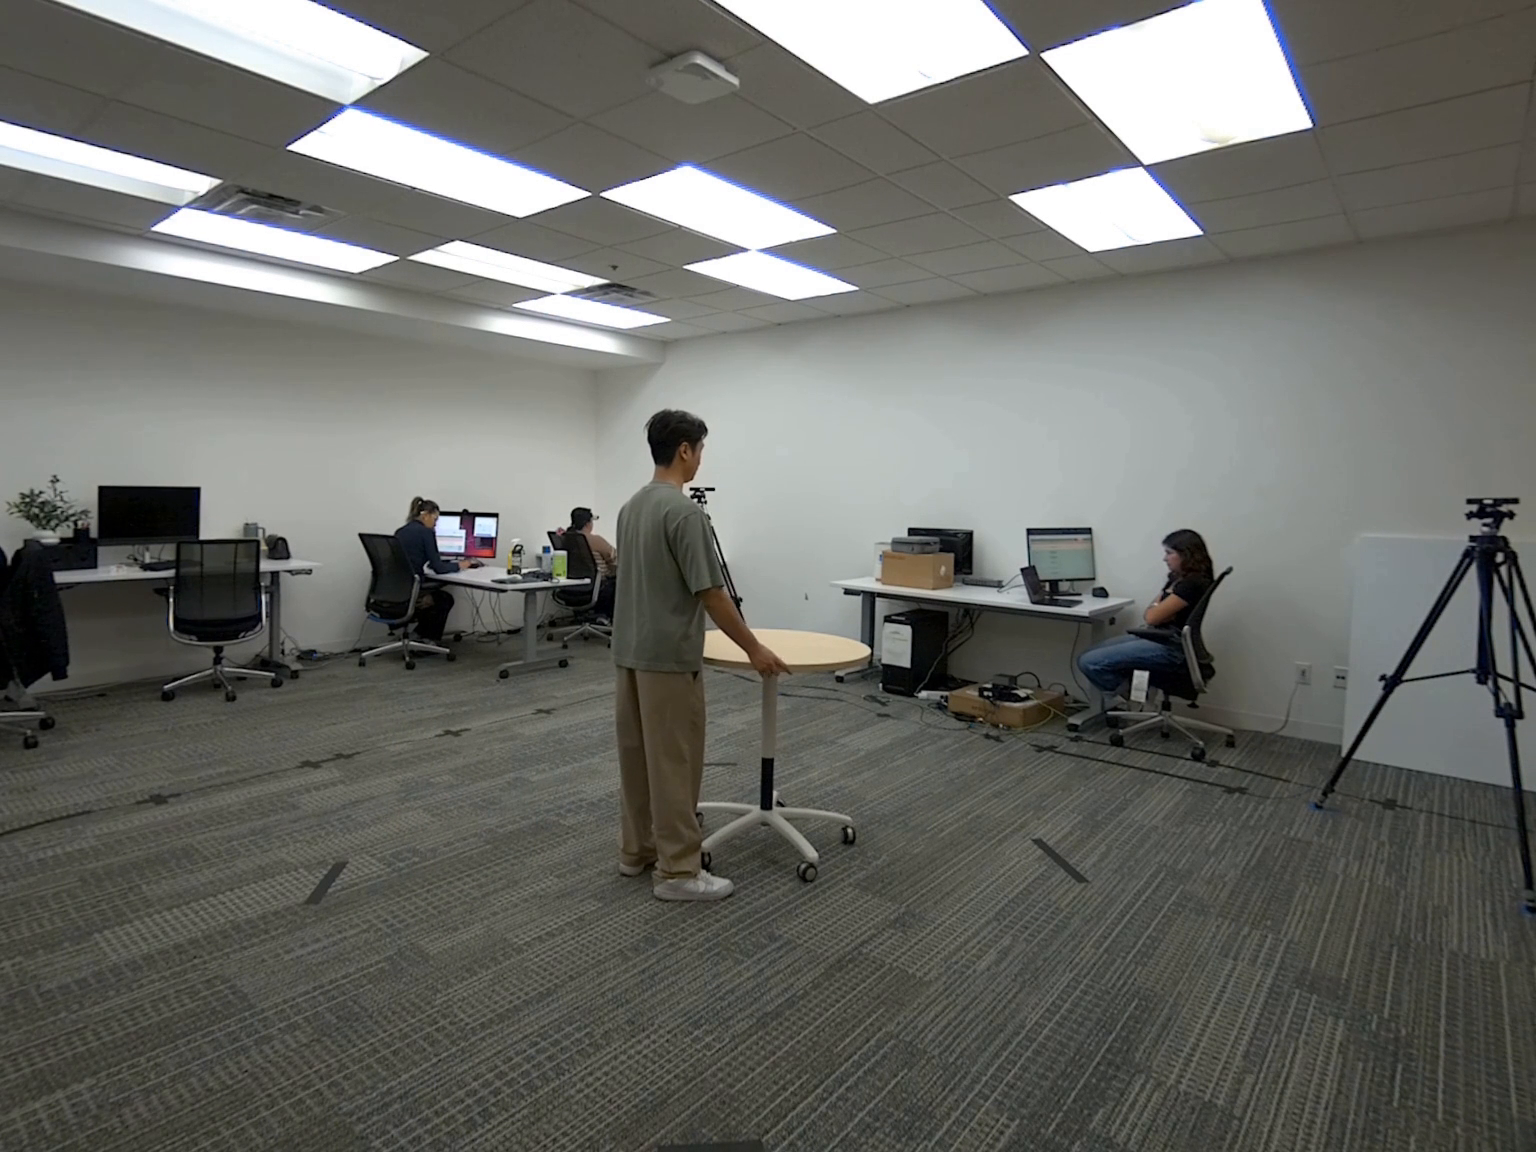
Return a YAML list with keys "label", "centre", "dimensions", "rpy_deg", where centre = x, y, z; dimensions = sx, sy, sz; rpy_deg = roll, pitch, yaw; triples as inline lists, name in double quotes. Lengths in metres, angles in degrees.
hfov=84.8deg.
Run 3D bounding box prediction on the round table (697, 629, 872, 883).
- label: "round table"
  centre: [-0.018, 0.654, 3.315]
  dimensions: [0.784, 0.784, 0.788]
  rpy_deg: [1, 3, -2]
